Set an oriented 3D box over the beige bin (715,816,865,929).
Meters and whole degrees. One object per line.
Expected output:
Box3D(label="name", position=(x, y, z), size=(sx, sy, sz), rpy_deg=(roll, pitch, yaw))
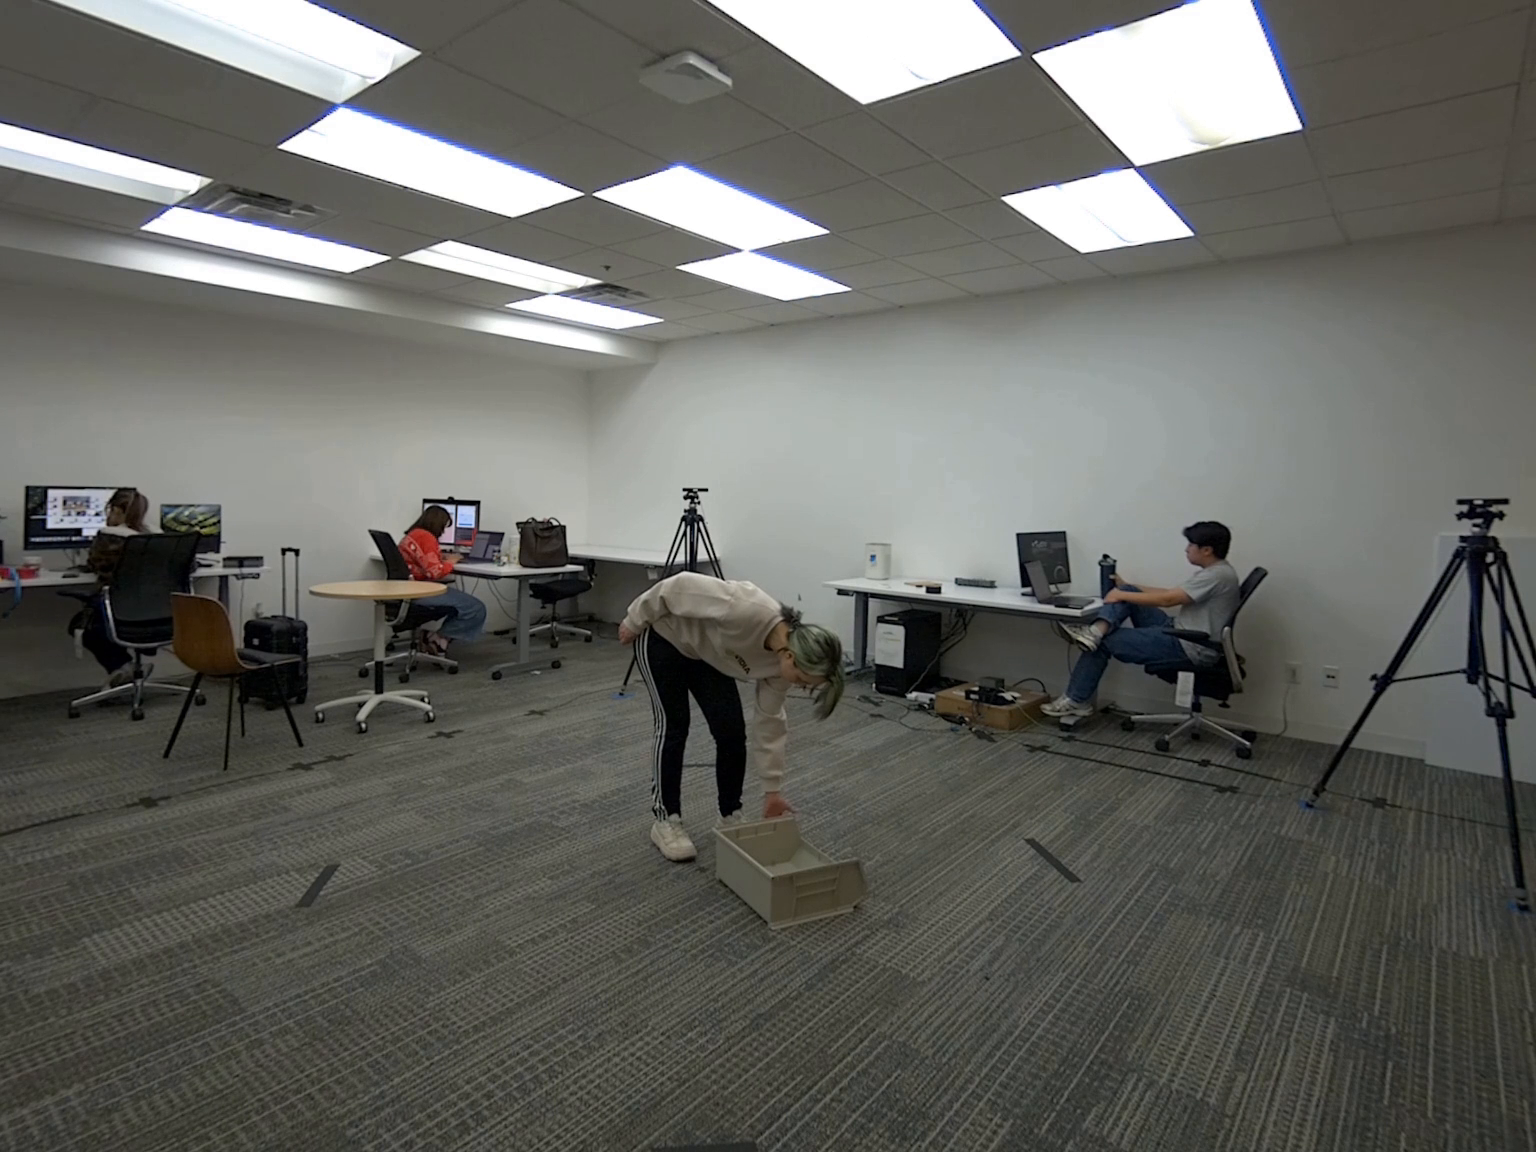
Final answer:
Box3D(label="beige bin", position=(0.061, 1.000, 2.939), size=(0.368, 0.188, 0.435), rpy_deg=(-3, 7, -29))
